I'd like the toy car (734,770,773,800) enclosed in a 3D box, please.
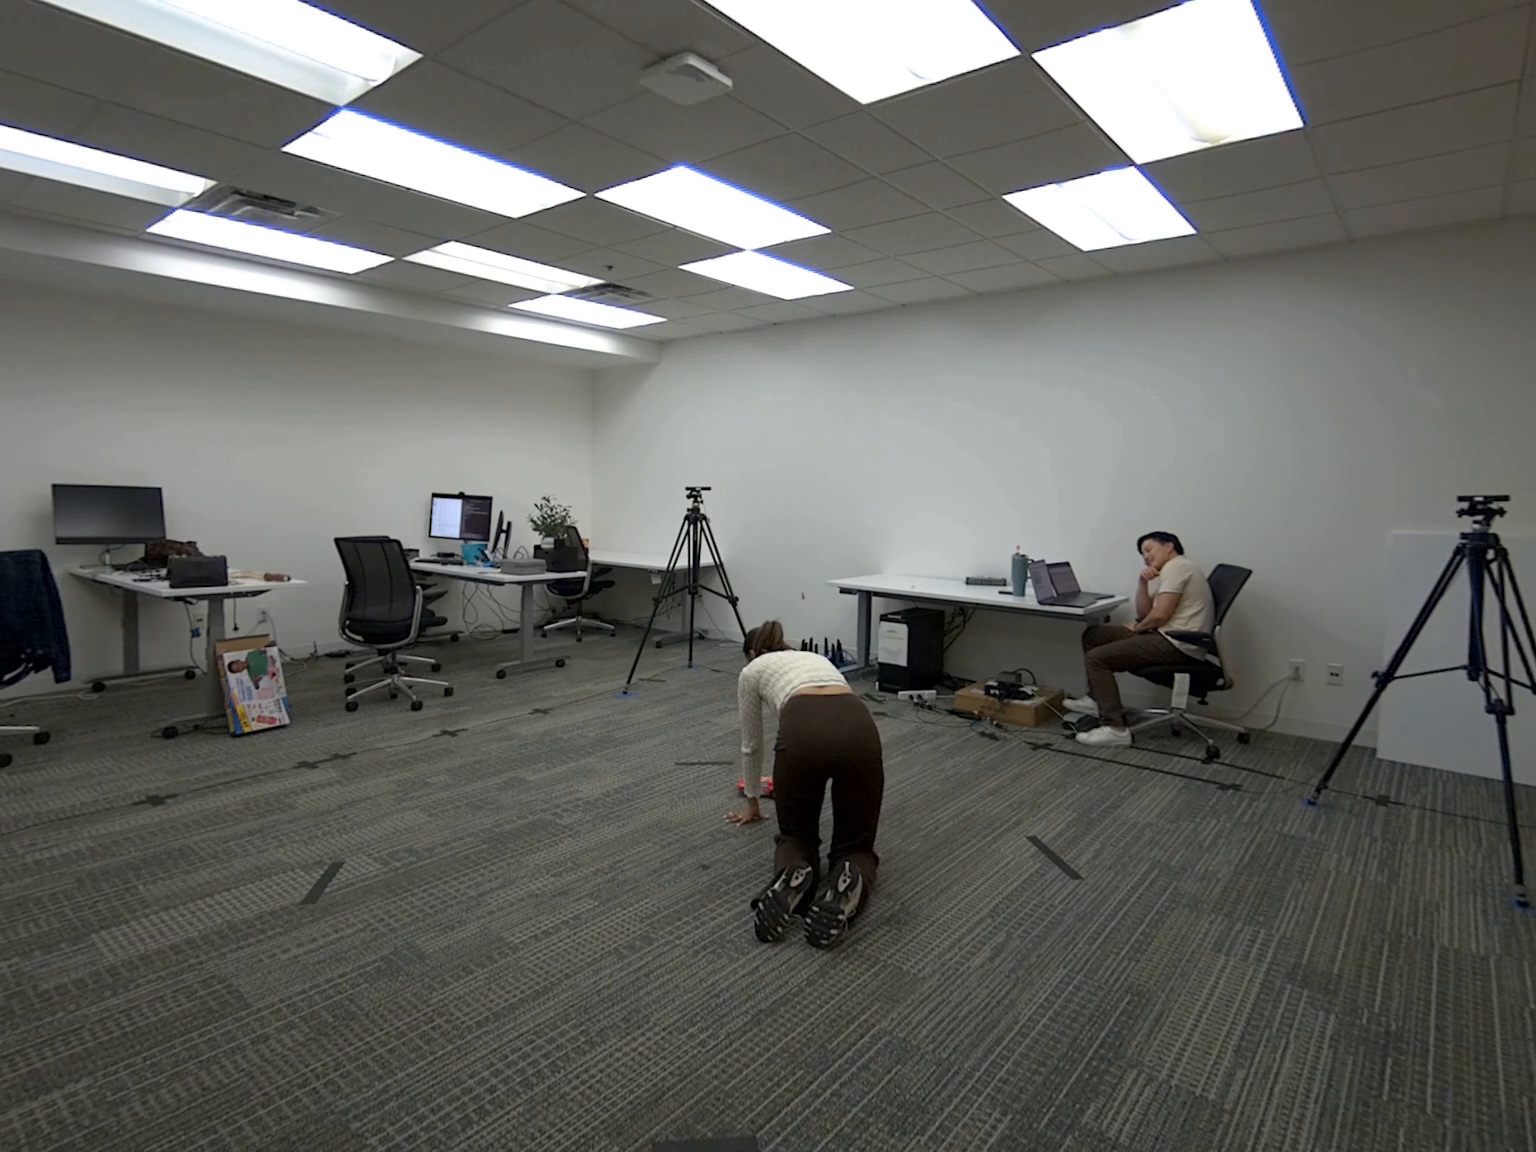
[{"bbox_3d":[-0.012,0.958,3.870,0.258,0.083,0.129,-7,3,13],"label":"toy car"}]
